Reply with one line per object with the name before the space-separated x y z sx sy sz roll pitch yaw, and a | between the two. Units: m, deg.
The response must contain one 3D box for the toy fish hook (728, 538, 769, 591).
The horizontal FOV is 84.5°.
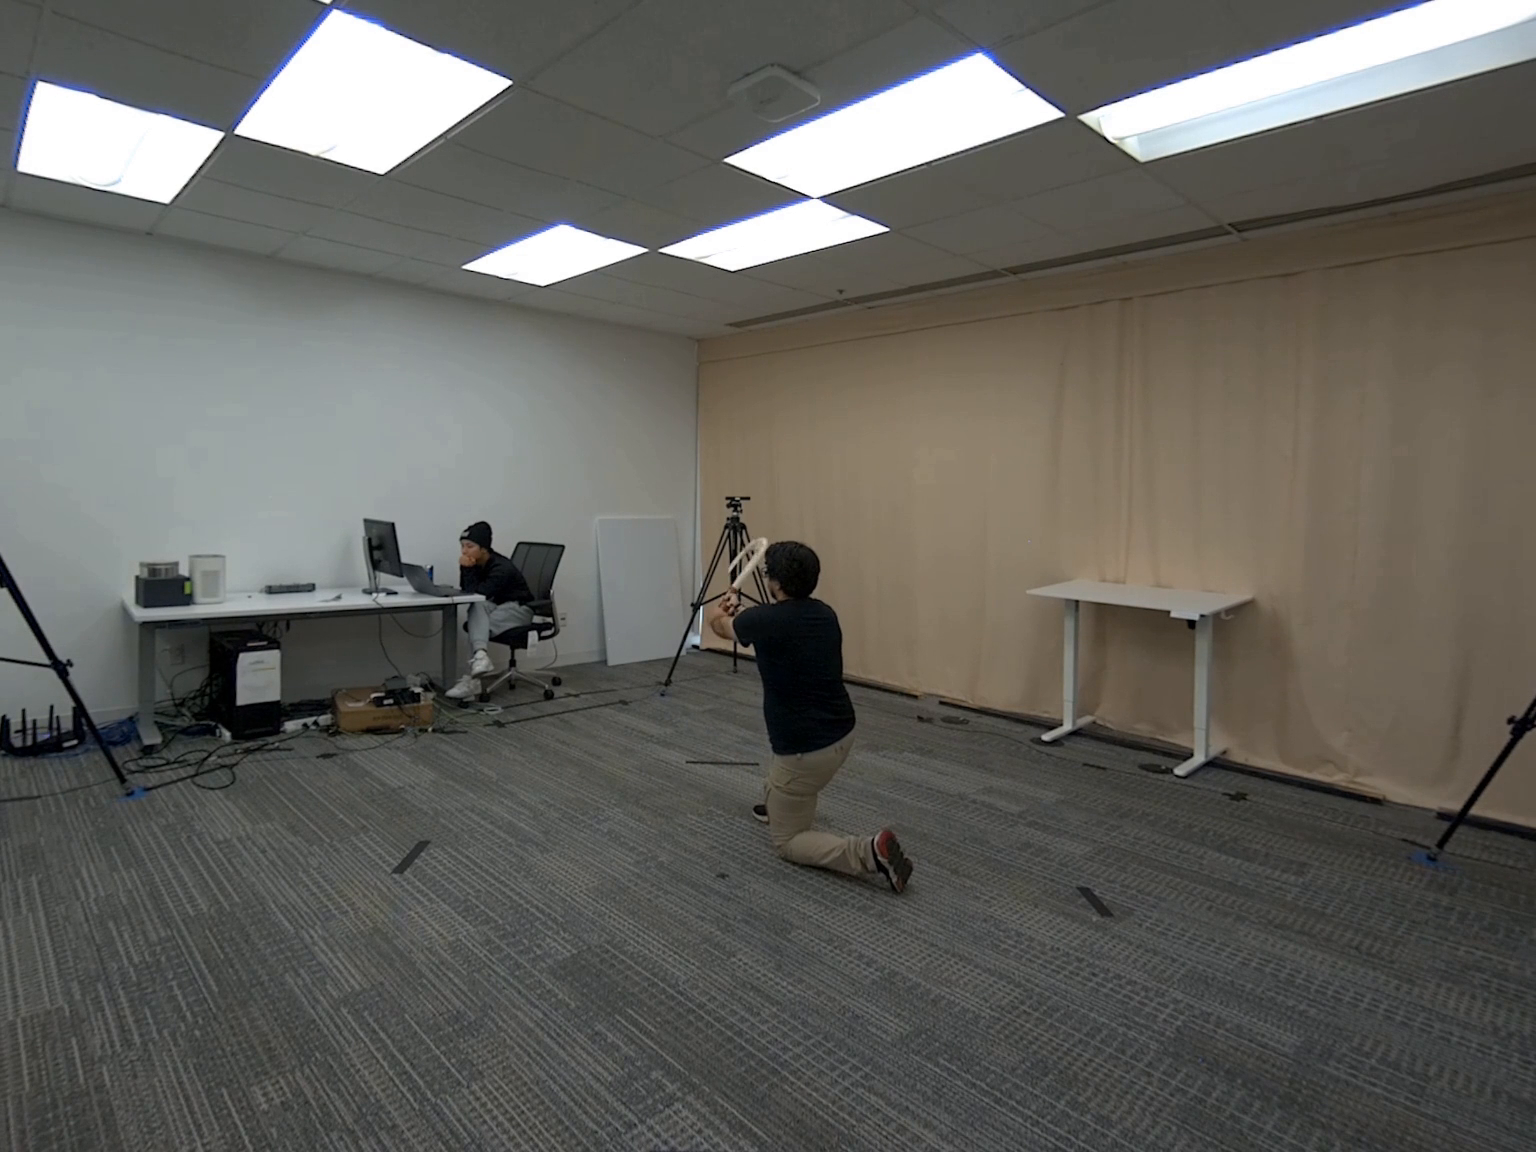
toy fish hook | -0.166 0.031 3.886 0.047 0.508 0.227 41 -25 -17
